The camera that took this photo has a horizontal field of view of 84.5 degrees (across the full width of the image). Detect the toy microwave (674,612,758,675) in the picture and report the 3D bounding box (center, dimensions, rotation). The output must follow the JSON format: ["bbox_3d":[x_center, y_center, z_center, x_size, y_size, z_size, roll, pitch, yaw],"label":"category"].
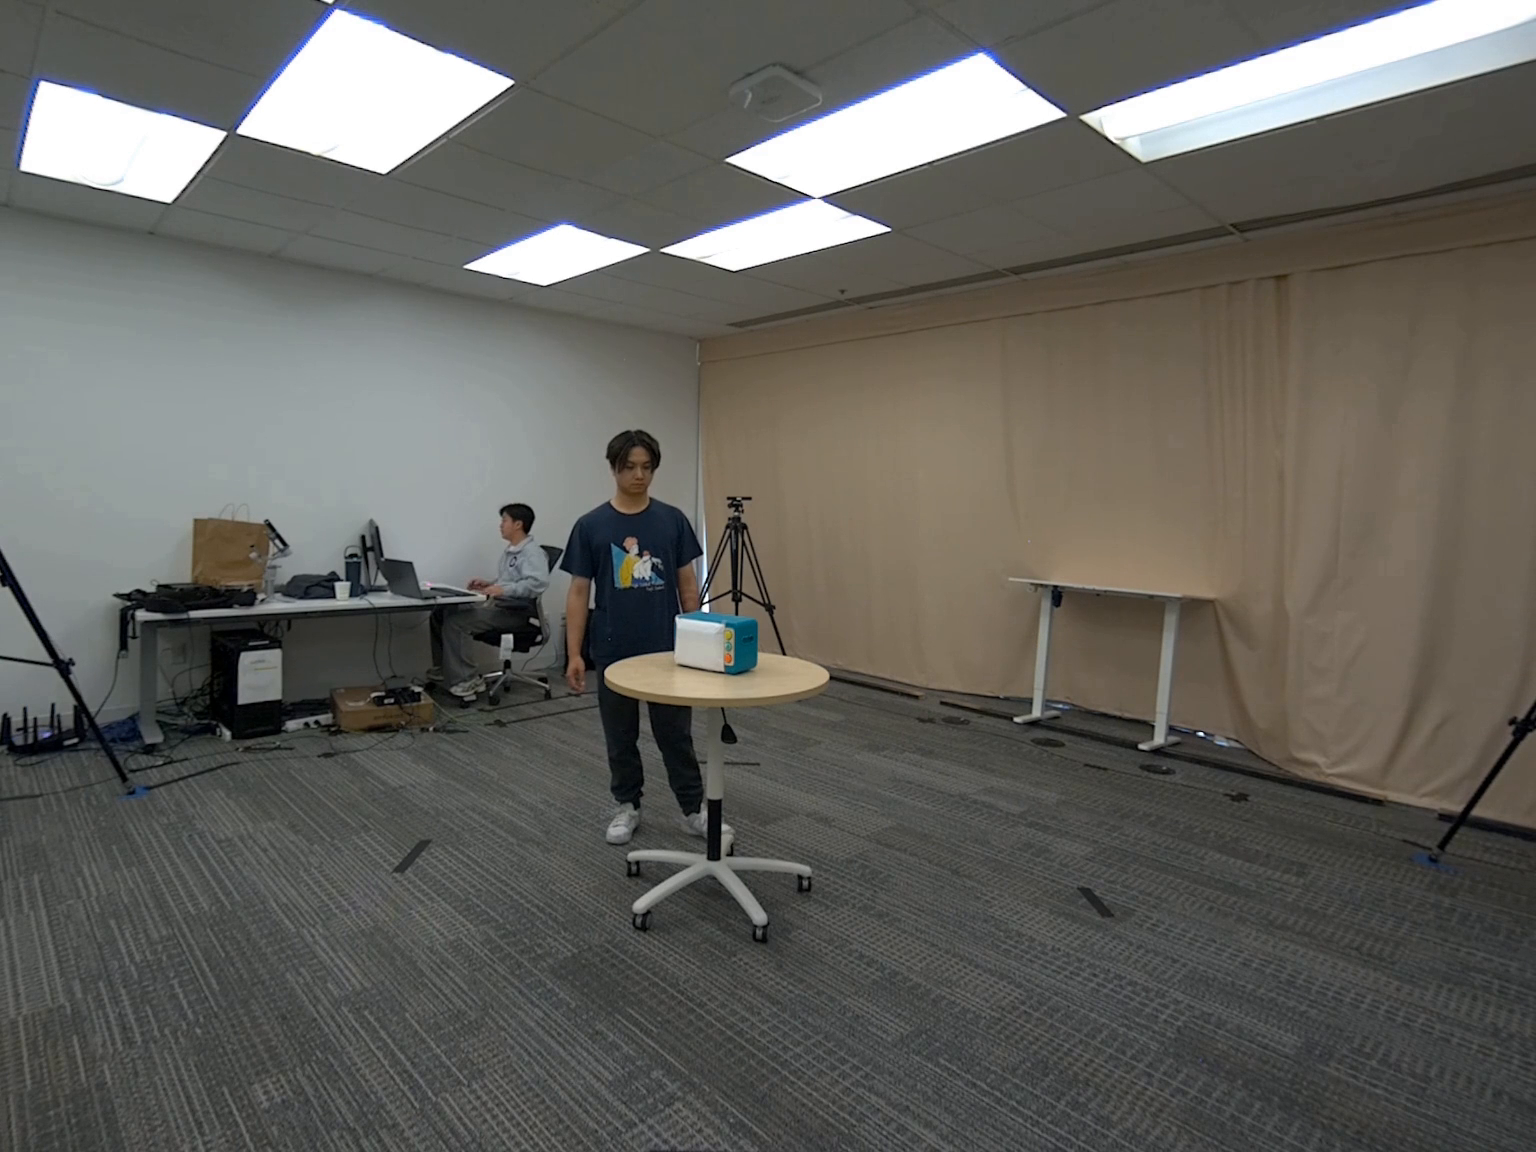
[{"bbox_3d":[-0.192,0.231,2.921,0.293,0.183,0.149,5,6,35],"label":"toy microwave"}]
